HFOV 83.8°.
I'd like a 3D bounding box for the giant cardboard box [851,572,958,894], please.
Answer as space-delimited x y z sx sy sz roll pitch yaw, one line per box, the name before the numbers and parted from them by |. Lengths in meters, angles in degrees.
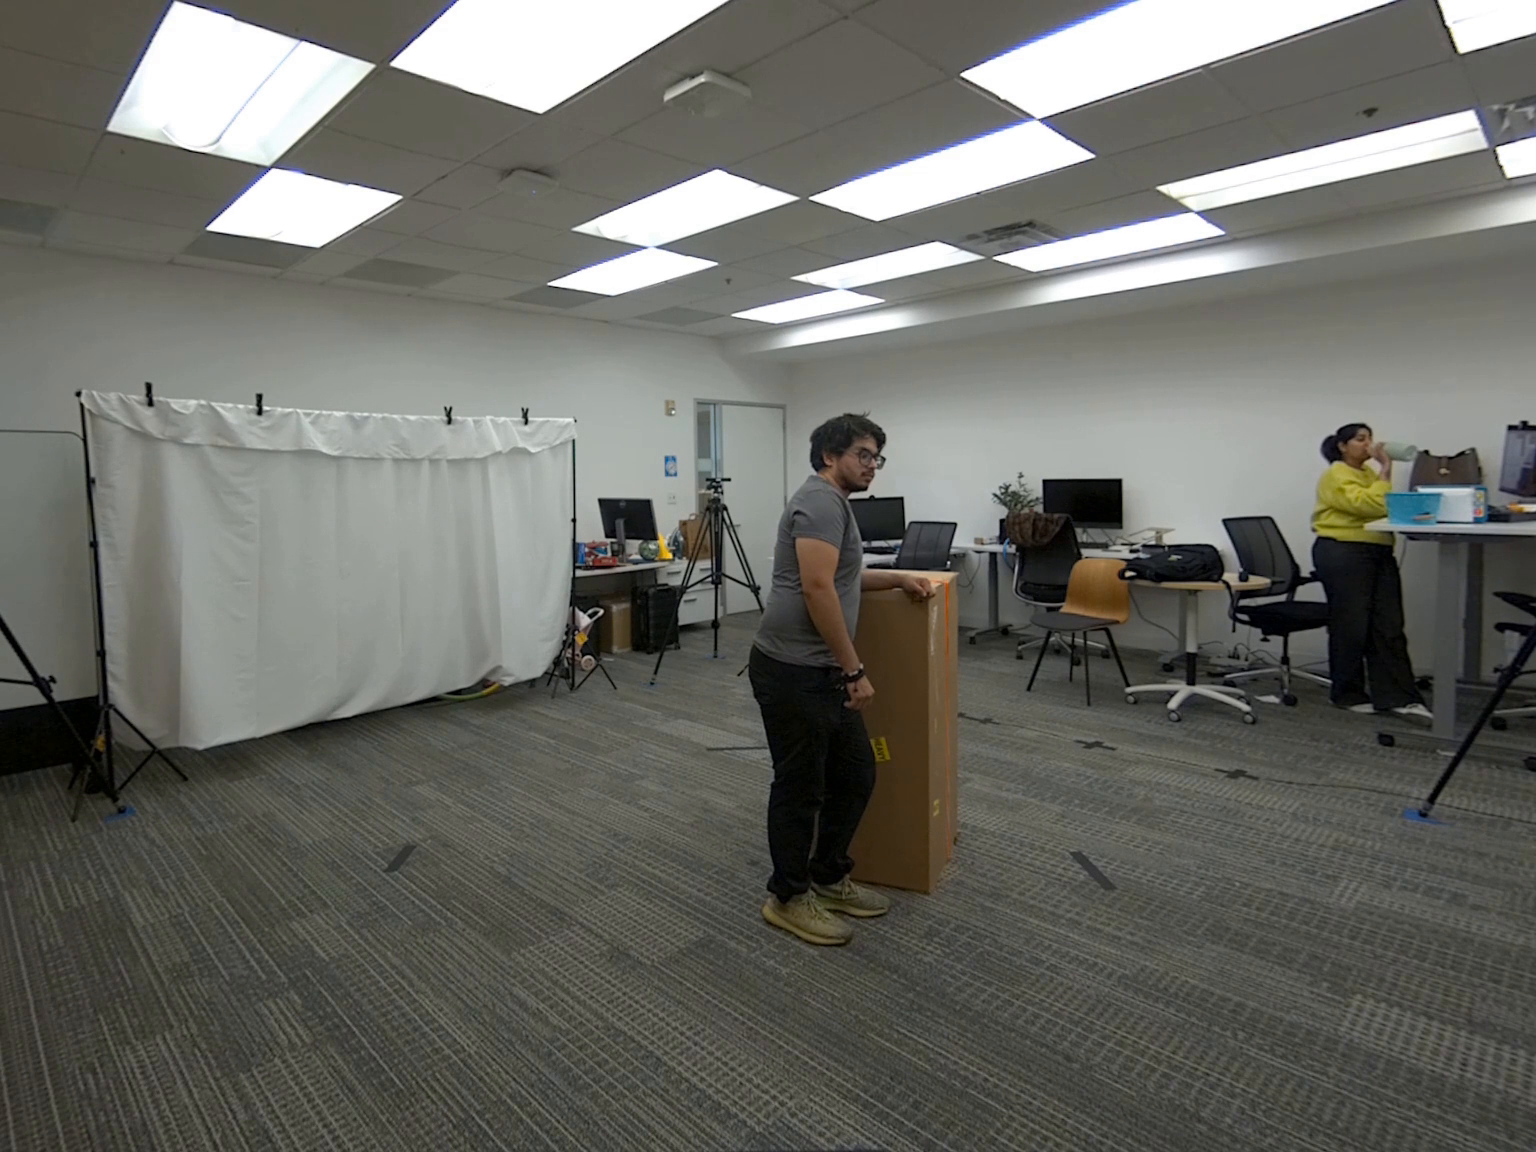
giant cardboard box | 0.454 0.519 3.166 0.436 1.022 0.567 1 4 24
